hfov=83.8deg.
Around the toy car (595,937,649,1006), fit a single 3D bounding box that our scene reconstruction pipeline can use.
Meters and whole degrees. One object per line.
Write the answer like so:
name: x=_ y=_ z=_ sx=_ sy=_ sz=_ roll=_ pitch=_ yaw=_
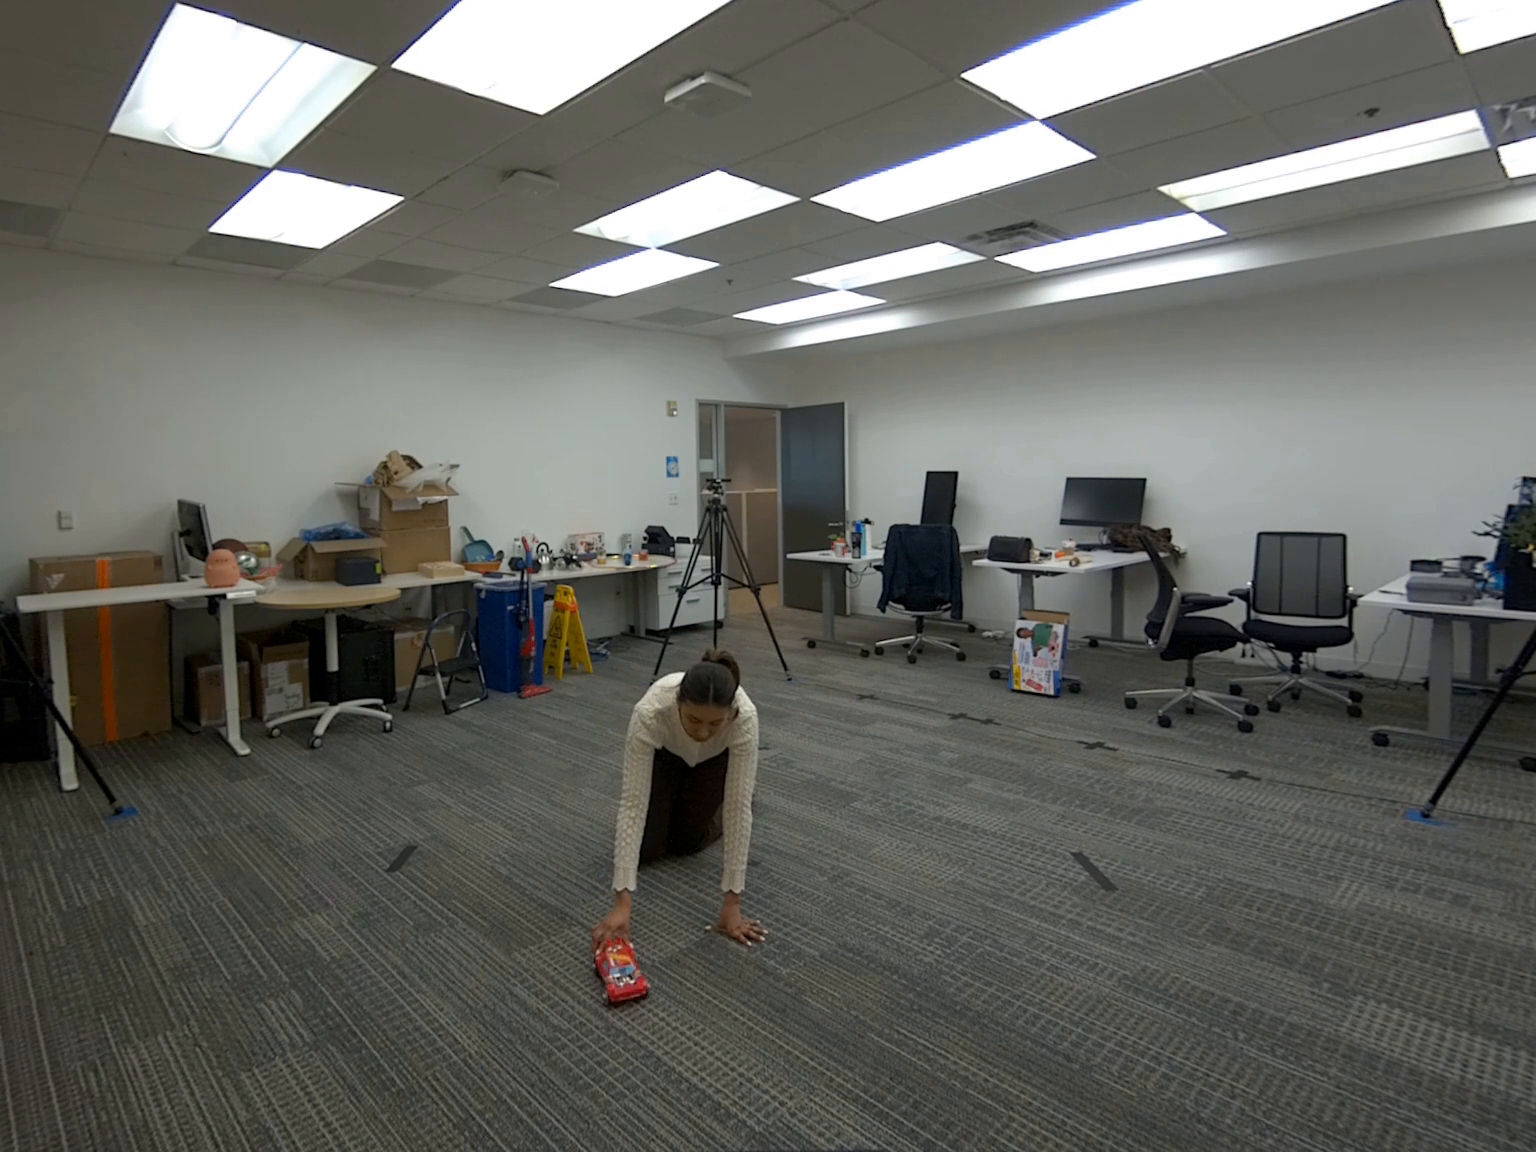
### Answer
toy car: x=-0.417 y=1.112 z=2.389 sx=0.128 sy=0.082 sz=0.262 roll=-4 pitch=17 yaw=-20
